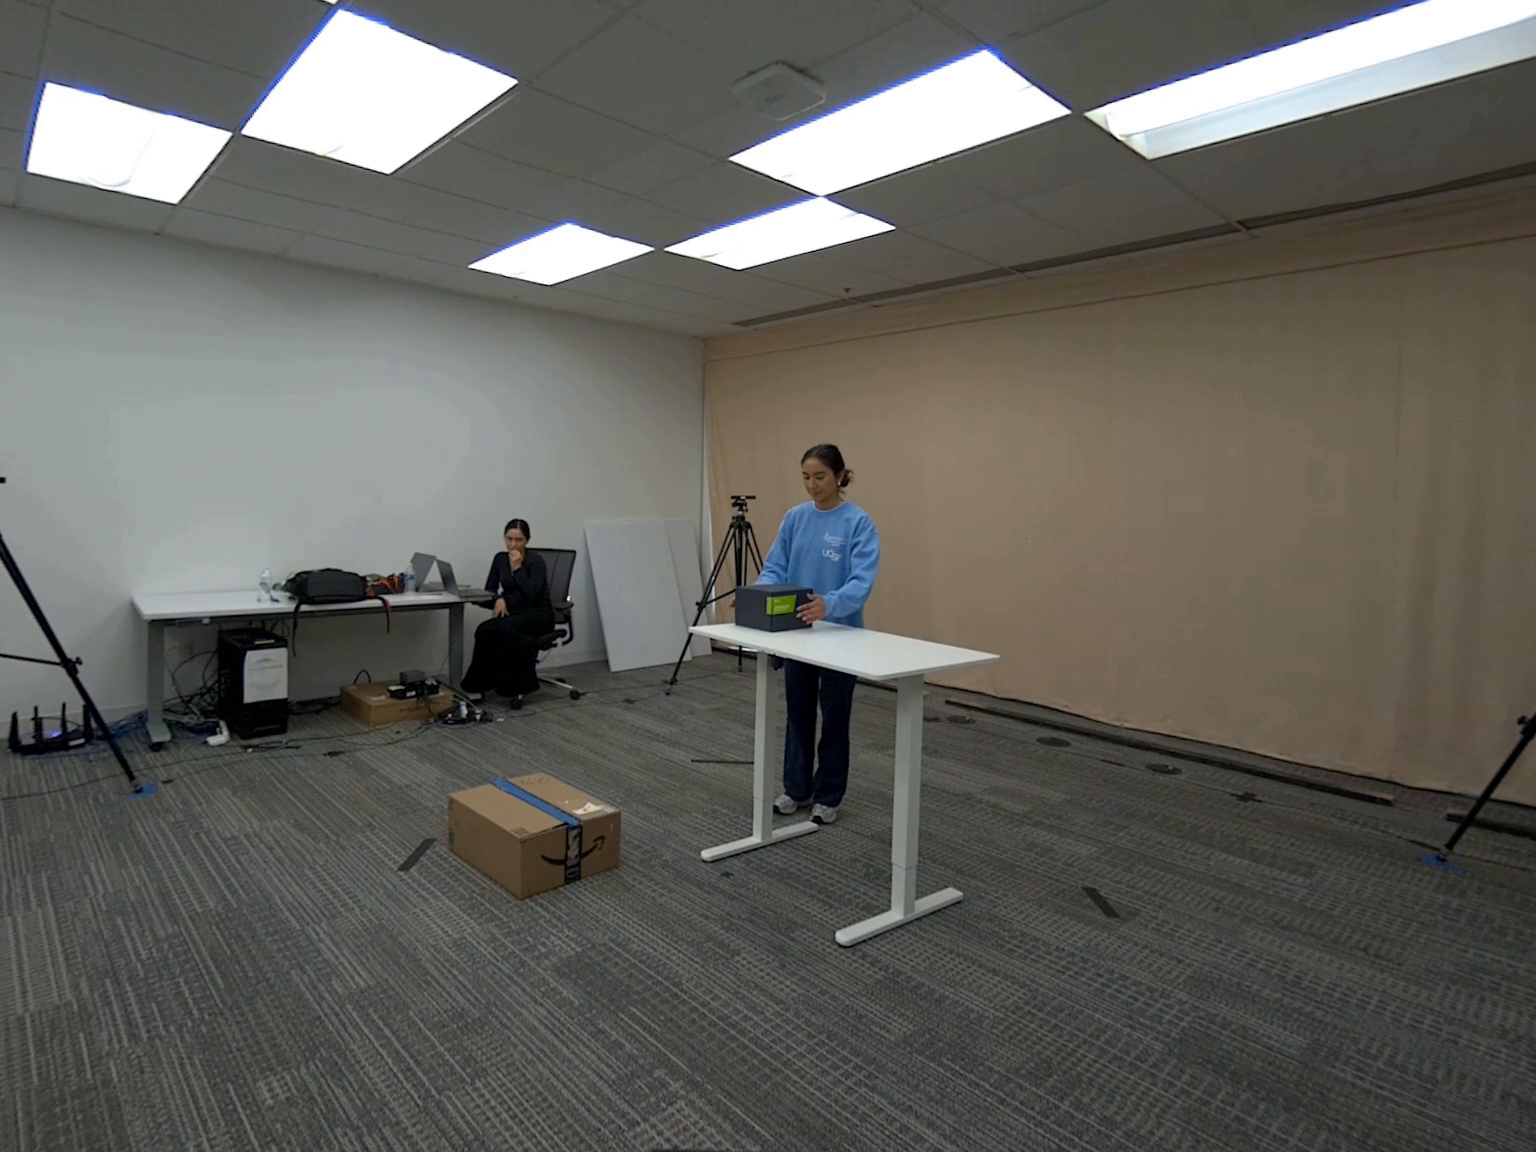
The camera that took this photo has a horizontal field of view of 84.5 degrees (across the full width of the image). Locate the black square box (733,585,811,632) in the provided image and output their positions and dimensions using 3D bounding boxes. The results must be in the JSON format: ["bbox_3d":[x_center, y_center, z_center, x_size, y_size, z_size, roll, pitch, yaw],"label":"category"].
[{"bbox_3d":[0.013,0.123,3.338,0.223,0.155,0.222,8,7,44],"label":"black square box"}]
